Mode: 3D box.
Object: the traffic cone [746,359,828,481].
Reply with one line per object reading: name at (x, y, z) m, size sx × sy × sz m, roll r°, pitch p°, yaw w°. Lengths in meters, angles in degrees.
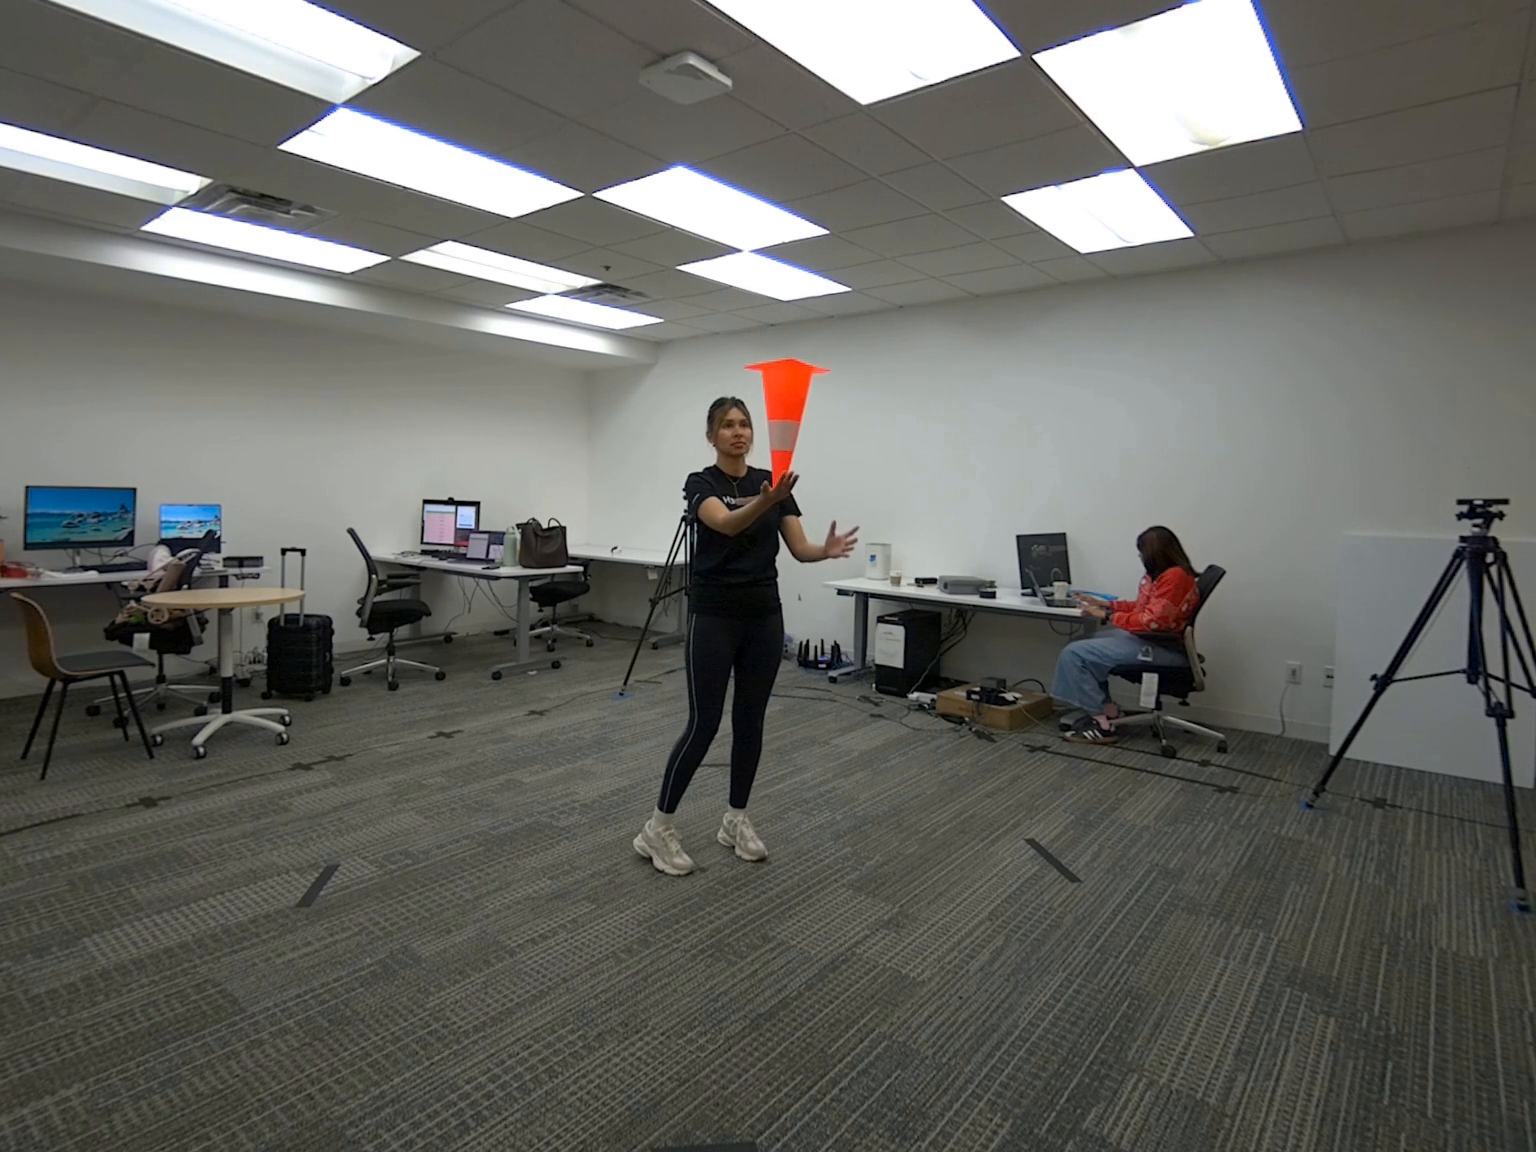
traffic cone at (0.048, -0.451, 2.607) m, size 0.197 × 0.383 × 0.212 m, roll 2°, pitch 1°, yaw -42°
